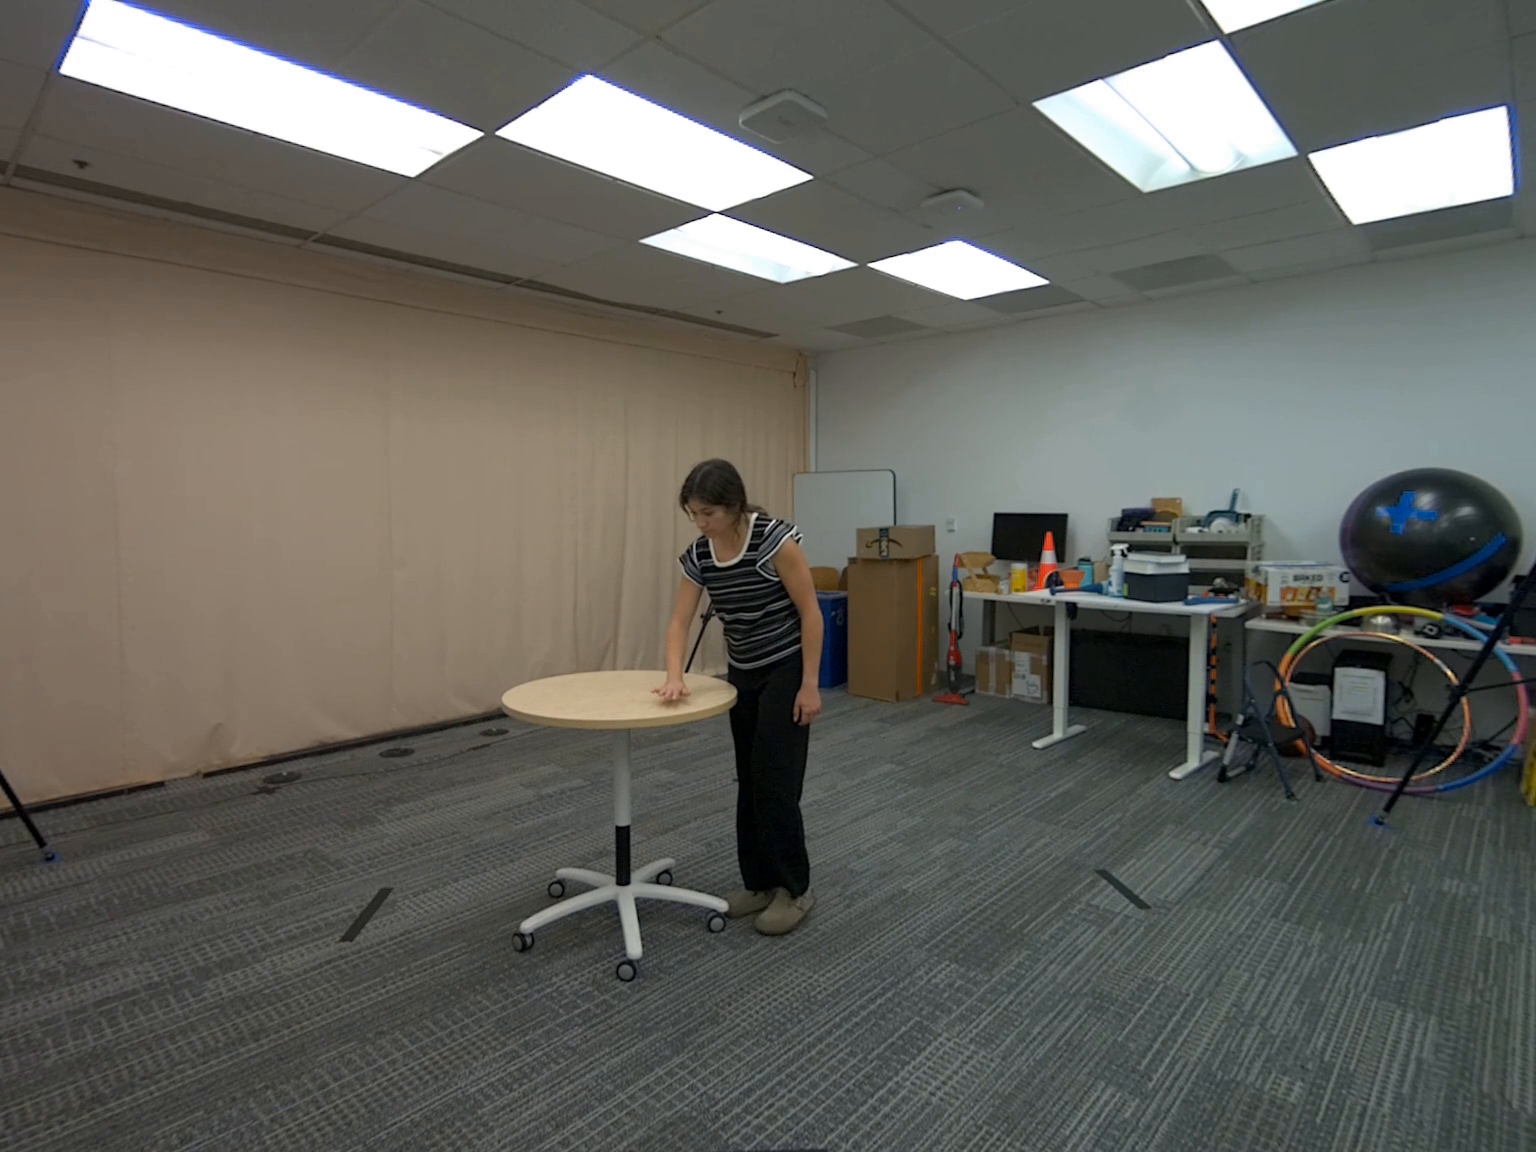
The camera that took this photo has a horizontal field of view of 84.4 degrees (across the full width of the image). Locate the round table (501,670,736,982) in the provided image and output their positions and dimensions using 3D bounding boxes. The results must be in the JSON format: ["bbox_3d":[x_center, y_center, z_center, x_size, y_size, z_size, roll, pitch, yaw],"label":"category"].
[{"bbox_3d":[-0.484,0.779,2.786,0.763,0.792,0.766,0,3,-2],"label":"round table"}]
